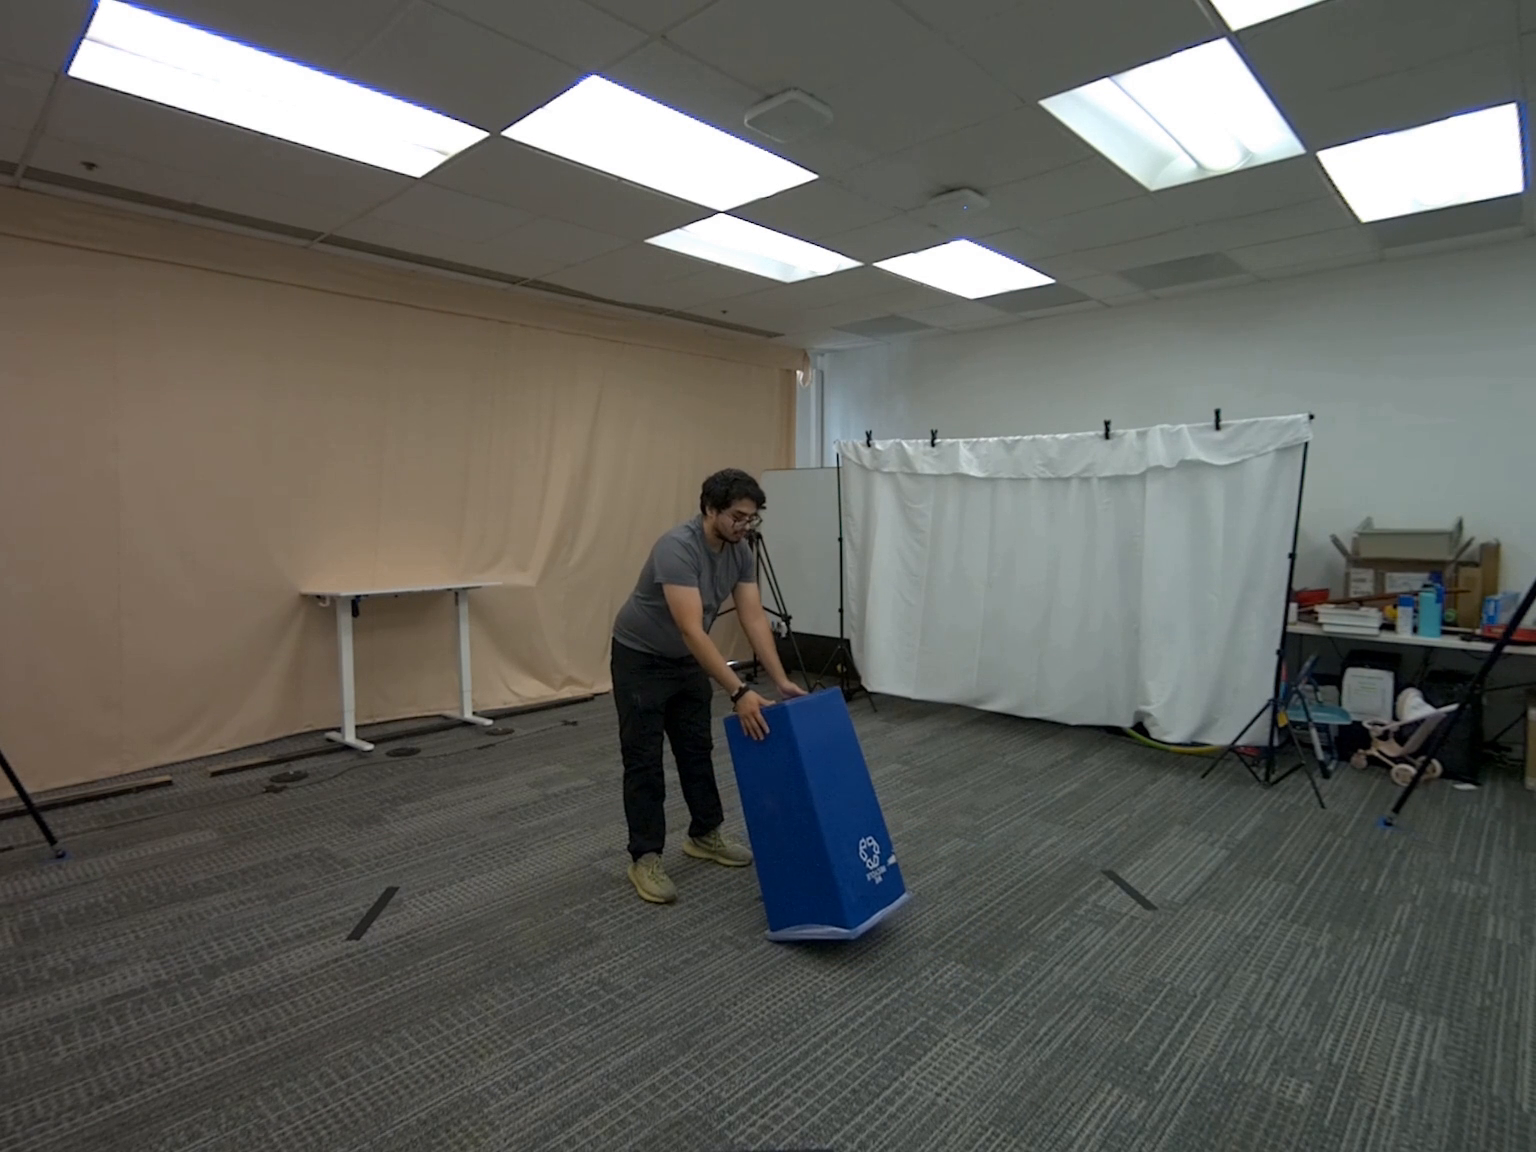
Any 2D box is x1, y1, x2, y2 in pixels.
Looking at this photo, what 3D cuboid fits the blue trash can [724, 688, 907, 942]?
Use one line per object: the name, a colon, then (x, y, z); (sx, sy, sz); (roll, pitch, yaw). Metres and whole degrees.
blue trash can: (0.139, 0.770, 2.778); (0.386, 0.720, 0.363); (-23, -12, 40)
